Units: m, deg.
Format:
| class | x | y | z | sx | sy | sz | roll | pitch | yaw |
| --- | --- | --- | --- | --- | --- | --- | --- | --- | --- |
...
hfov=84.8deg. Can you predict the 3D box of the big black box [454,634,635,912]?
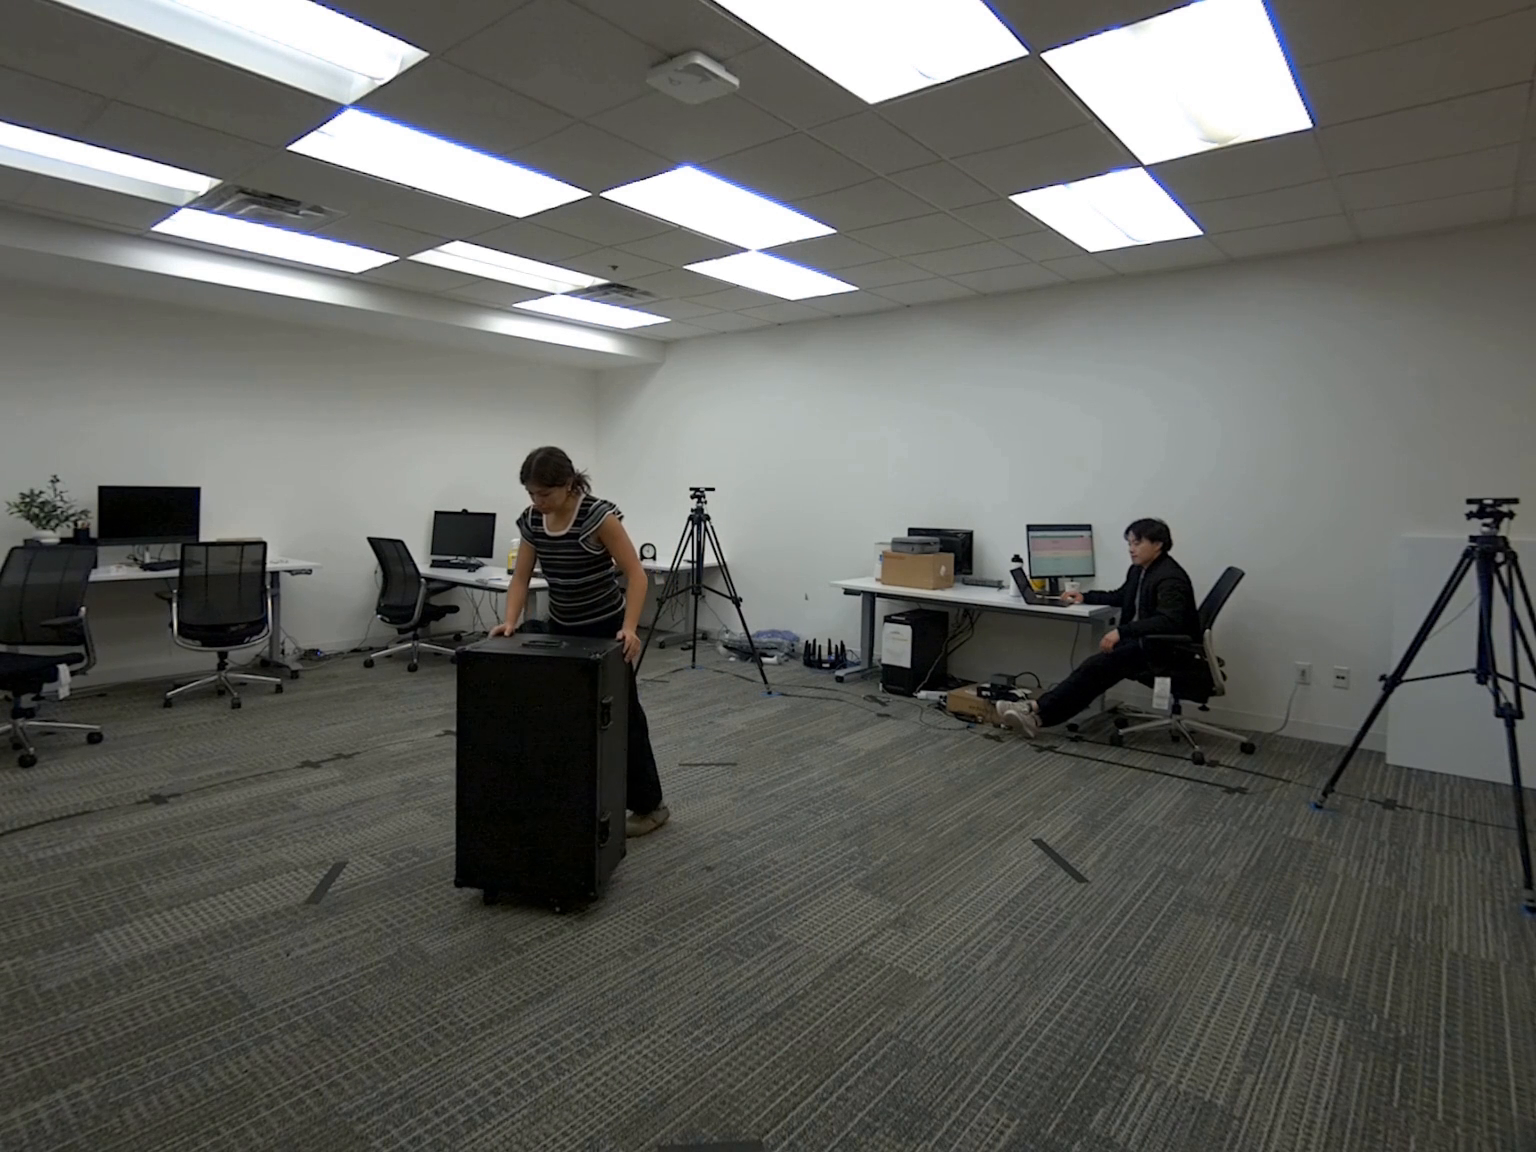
| class | x | y | z | sx | sy | sz | roll | pitch | yaw |
| --- | --- | --- | --- | --- | --- | --- | --- | --- | --- |
| big black box | -0.775 | 0.651 | 2.905 | 0.527 | 0.860 | 0.393 | 2 | 2 | 9 |
